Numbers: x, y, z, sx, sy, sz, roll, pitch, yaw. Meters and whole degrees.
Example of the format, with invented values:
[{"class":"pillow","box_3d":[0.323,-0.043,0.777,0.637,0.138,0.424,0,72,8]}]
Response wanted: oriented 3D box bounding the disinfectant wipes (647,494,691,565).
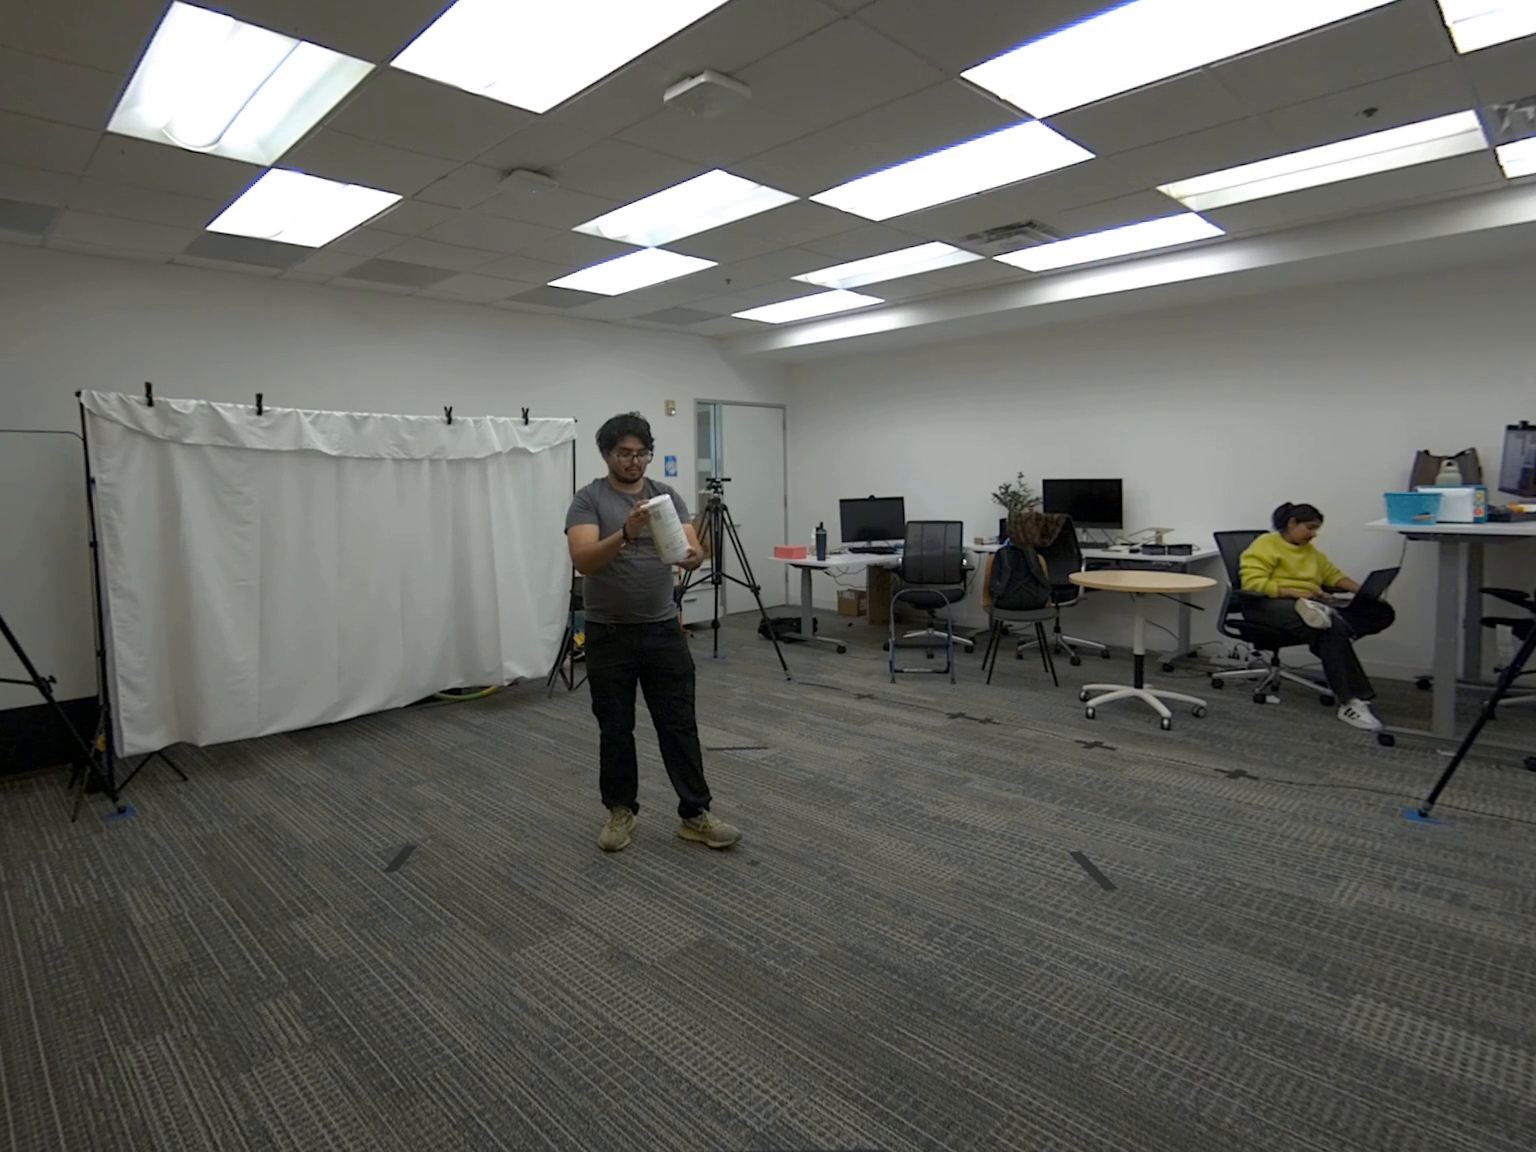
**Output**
[{"class":"disinfectant wipes","box_3d":[-0.351,-0.157,2.881,0.118,0.215,0.119,-22,11,3]}]
